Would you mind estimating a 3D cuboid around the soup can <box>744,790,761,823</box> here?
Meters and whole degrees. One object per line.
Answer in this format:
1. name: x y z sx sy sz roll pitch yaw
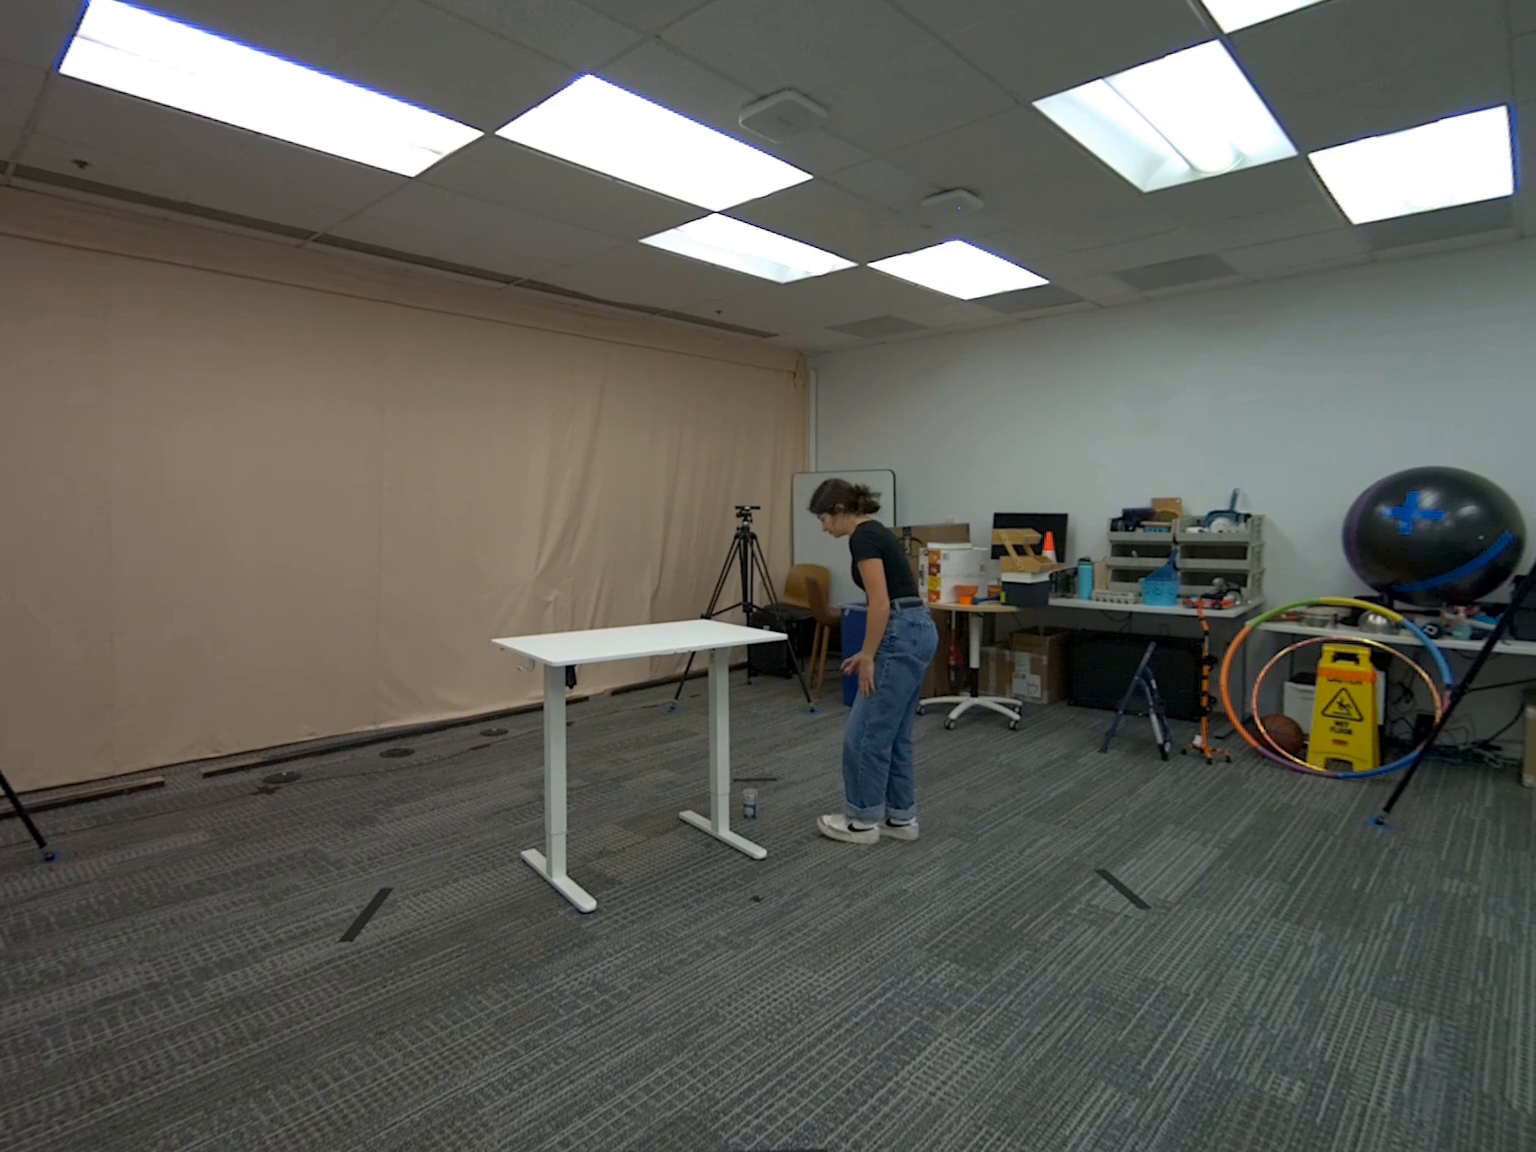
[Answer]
1. soup can: -0.073 1.022 3.771 0.067 0.122 0.067 -1 -2 -2
